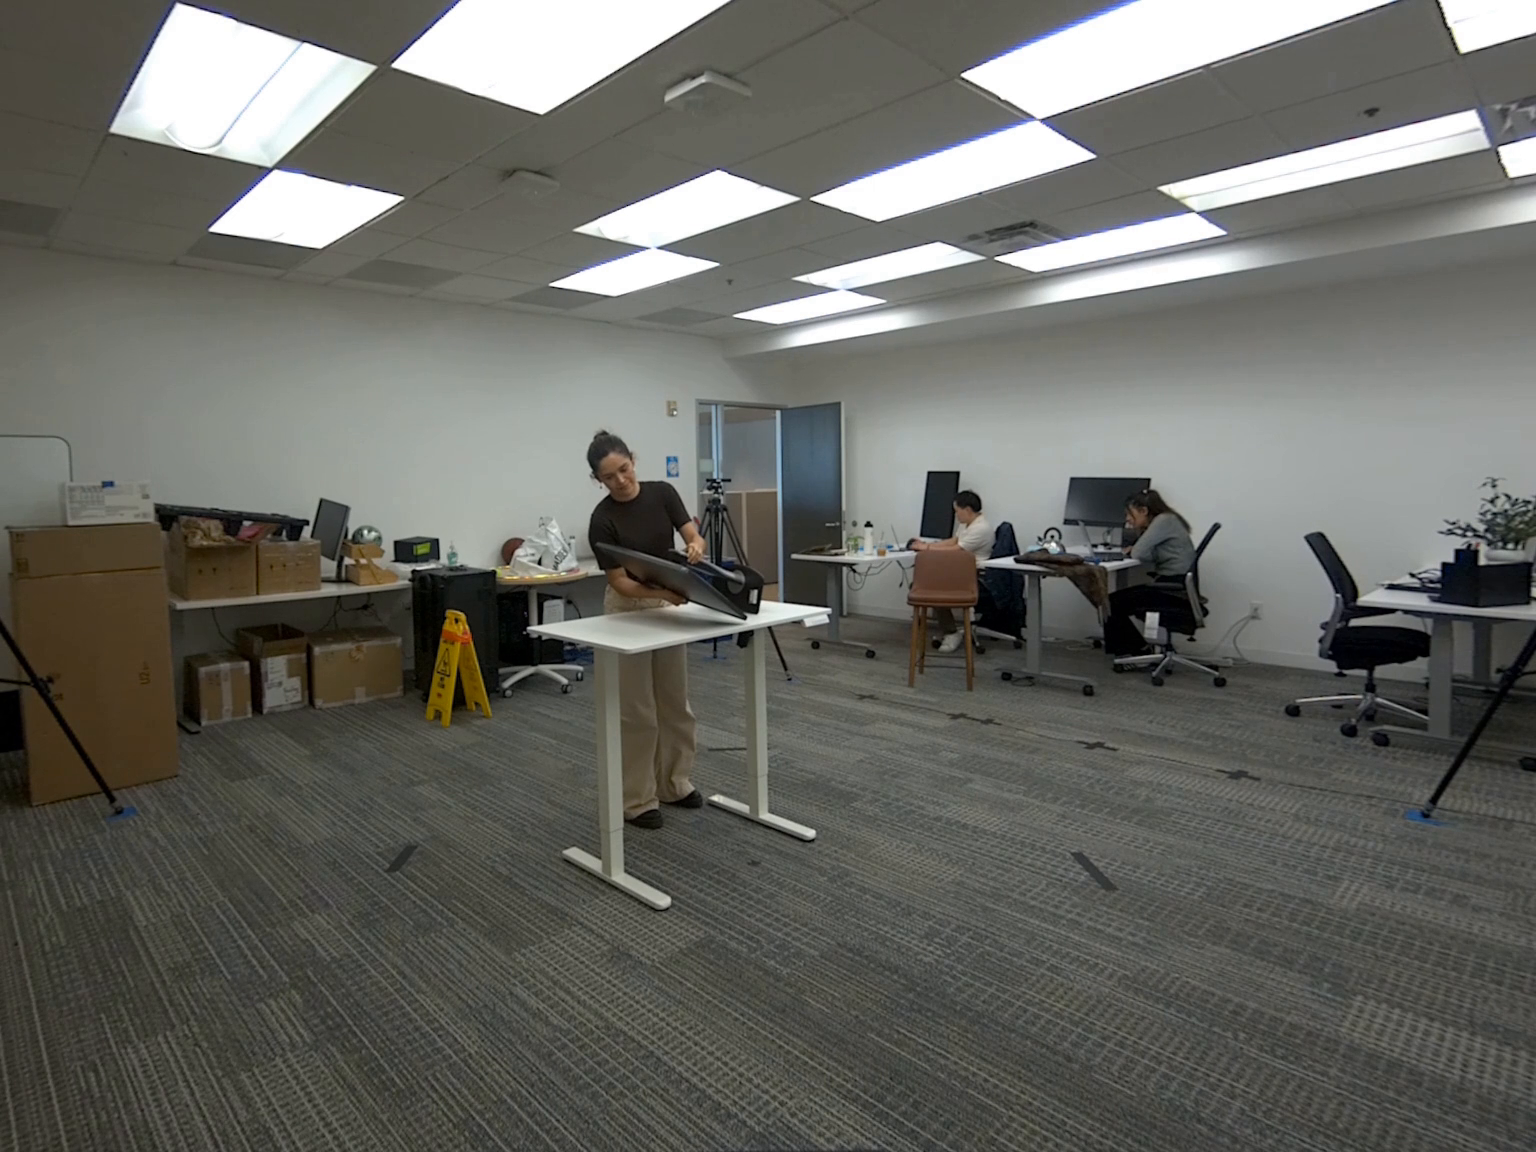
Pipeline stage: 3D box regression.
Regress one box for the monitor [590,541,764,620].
[{"bbox_3d":[-0.282,0.008,3.165,0.557,0.187,0.504,12,-4,45],"label":"monitor"}]
